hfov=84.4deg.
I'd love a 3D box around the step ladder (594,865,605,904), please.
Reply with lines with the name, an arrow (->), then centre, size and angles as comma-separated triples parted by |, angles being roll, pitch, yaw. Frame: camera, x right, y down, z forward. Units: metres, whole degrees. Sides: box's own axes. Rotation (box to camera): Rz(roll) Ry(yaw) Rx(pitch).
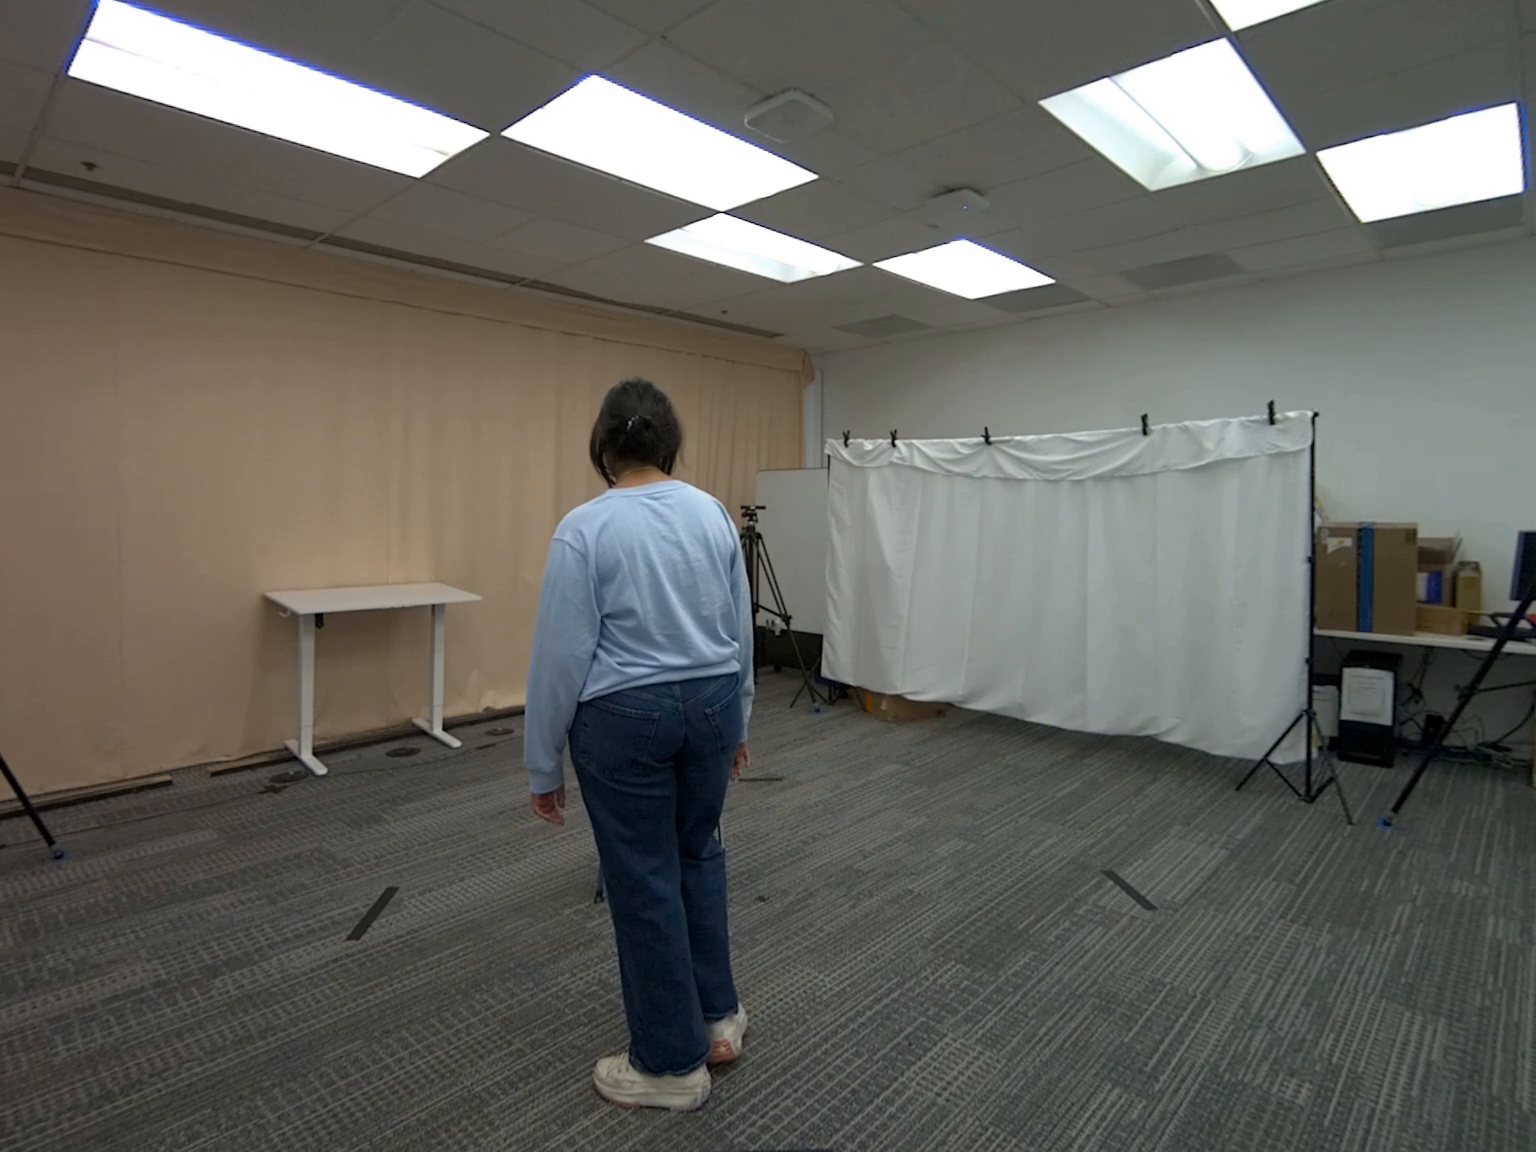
step ladder -> -0.389, 0.835, 3.089 | 0.435, 0.605, 0.346 | 0, 3, 9
